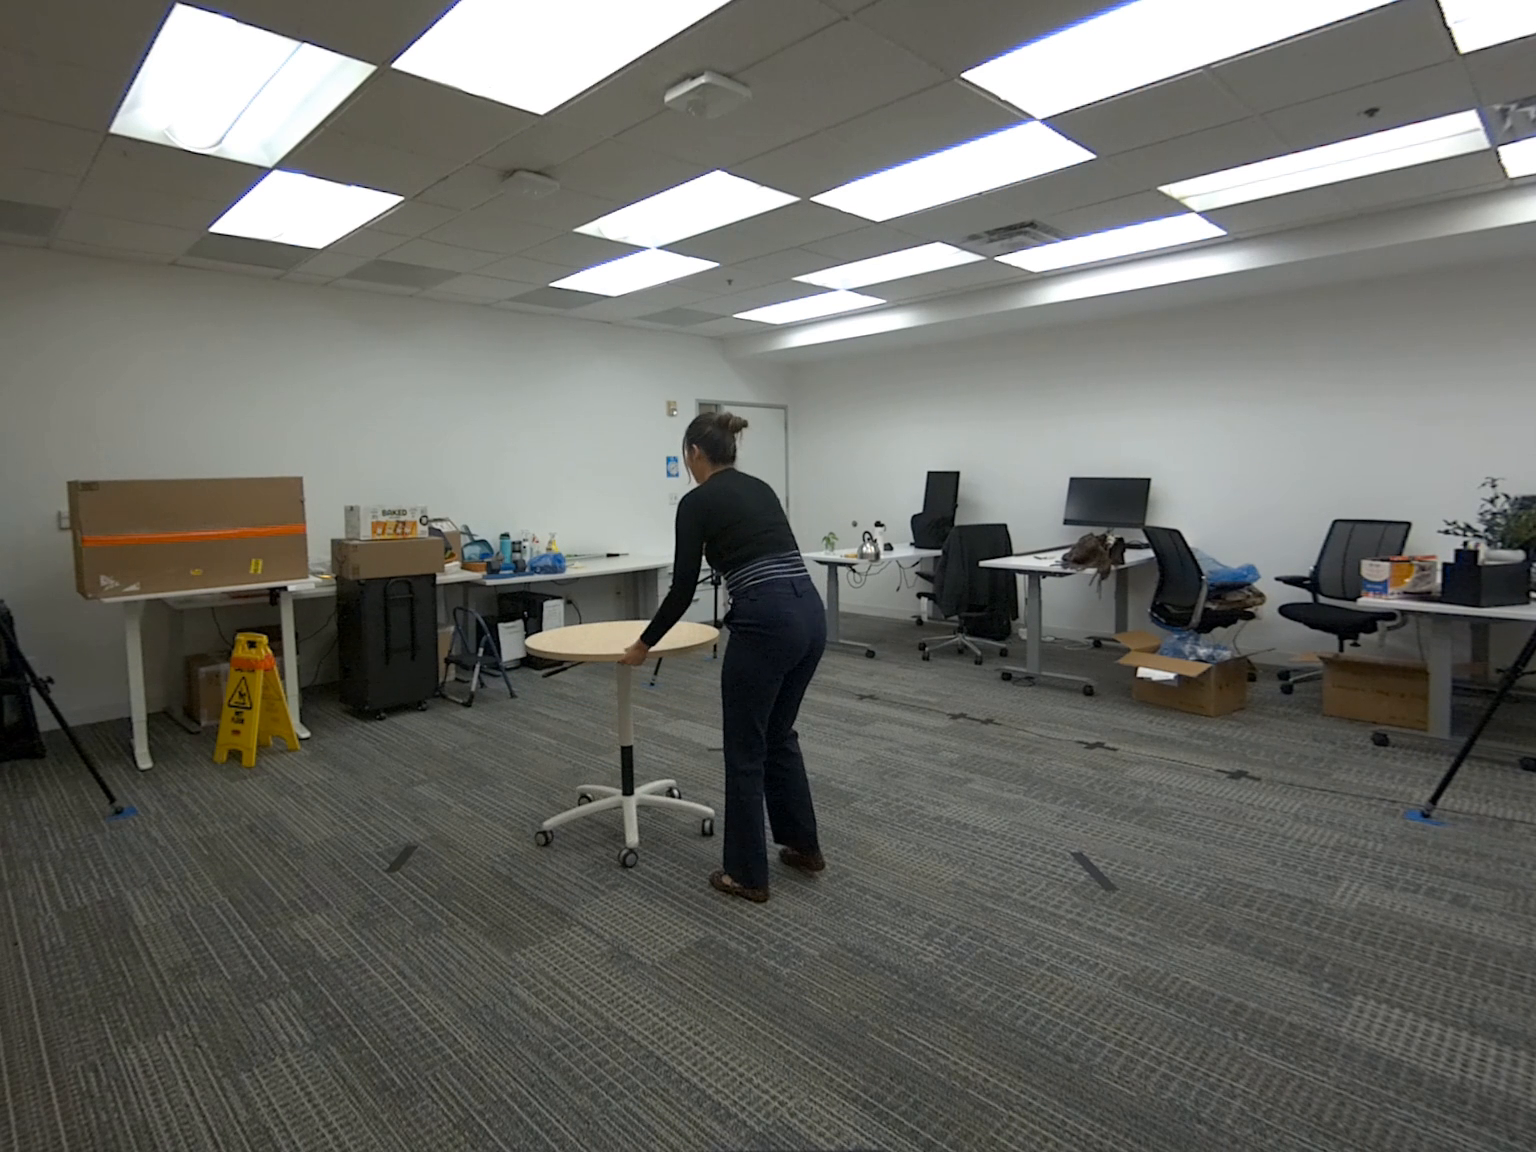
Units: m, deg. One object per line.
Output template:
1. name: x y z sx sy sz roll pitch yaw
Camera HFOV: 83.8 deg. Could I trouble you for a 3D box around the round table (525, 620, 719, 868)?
1. round table: -0.566 0.630 3.416 0.763 0.791 0.767 -2 4 -2
